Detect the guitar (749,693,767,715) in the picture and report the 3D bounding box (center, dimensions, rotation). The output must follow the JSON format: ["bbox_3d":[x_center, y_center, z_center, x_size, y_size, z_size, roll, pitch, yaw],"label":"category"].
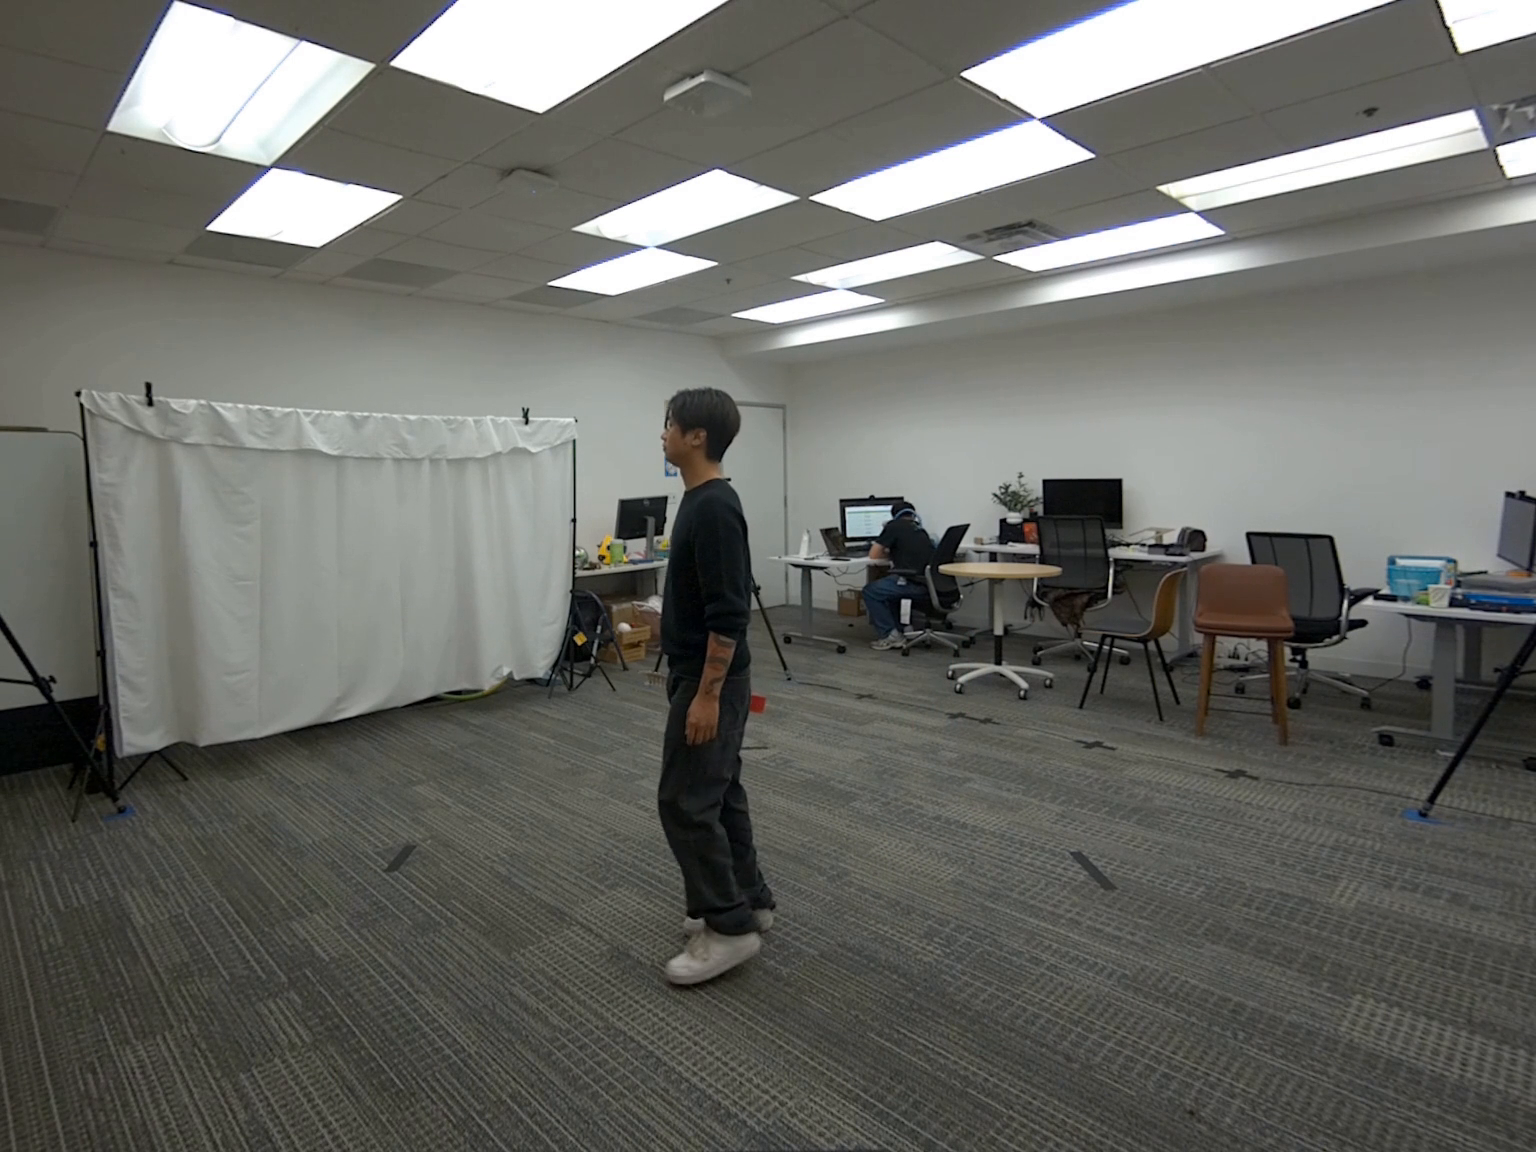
[{"bbox_3d":[-0.224,0.394,2.943,0.483,0.071,0.198,15,-7,-30],"label":"guitar"}]
